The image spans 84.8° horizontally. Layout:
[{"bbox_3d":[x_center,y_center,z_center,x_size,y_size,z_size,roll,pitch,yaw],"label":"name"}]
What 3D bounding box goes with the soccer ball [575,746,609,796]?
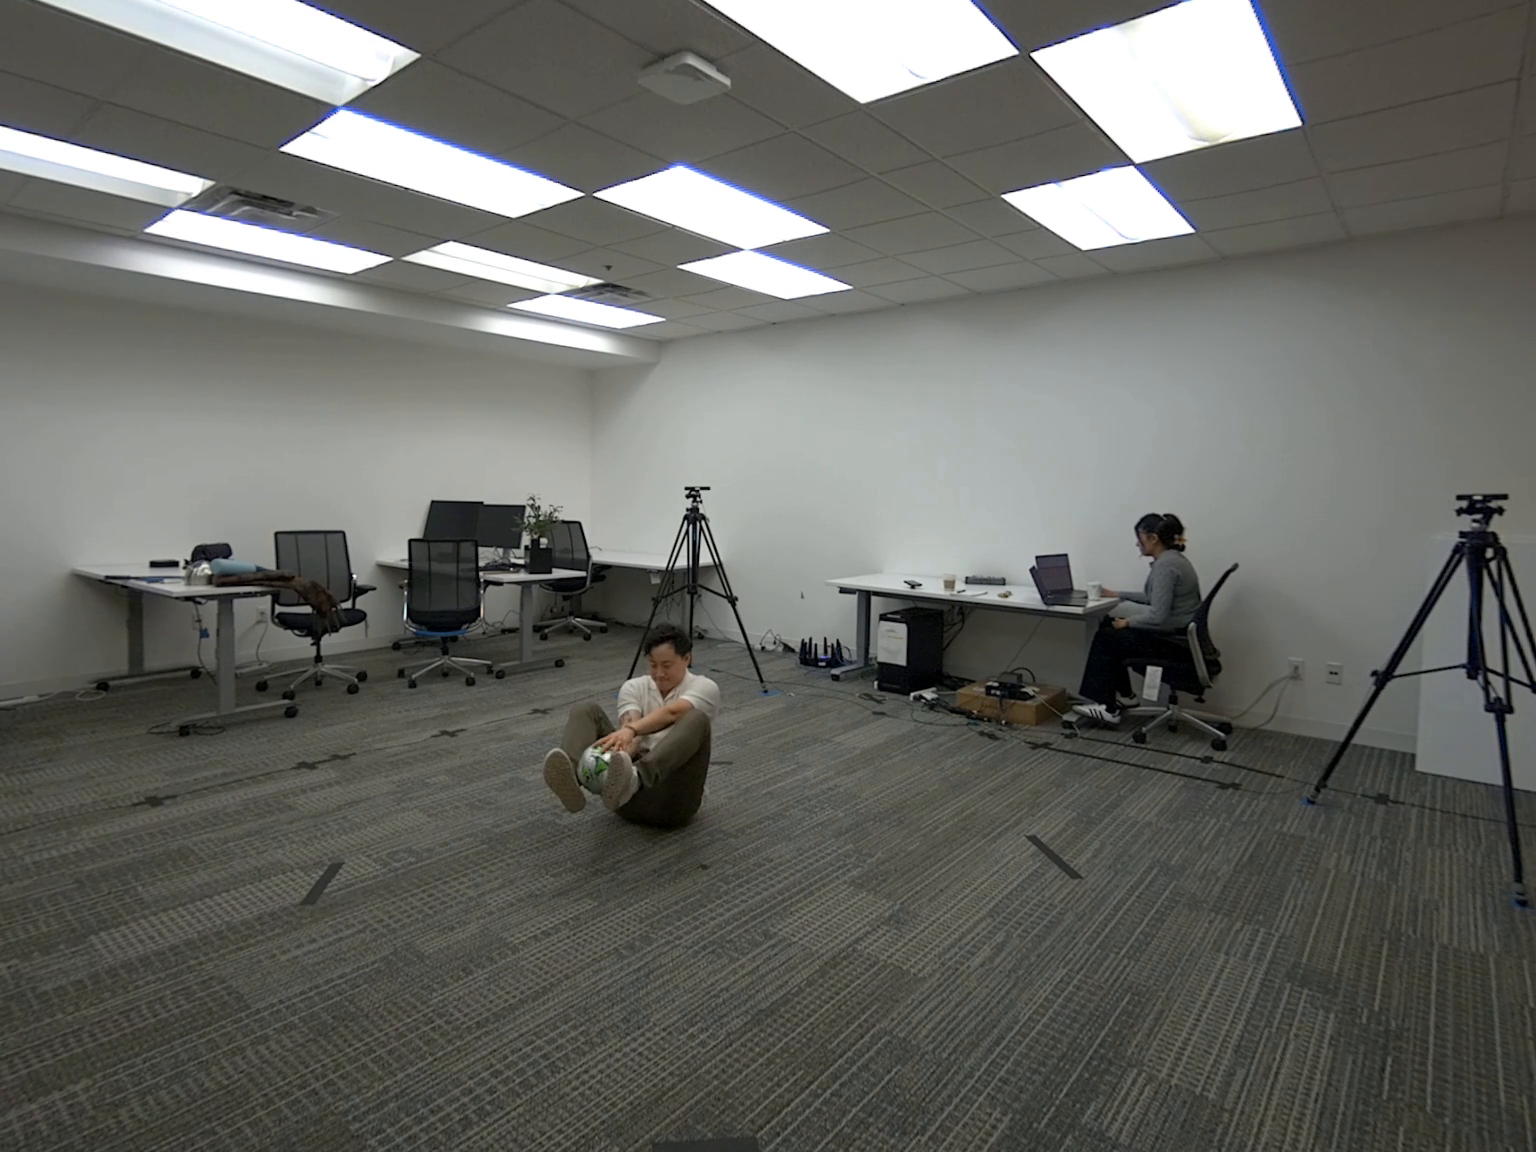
[{"bbox_3d":[-0.639,0.708,3.143,0.187,0.187,0.188,1,4,-2],"label":"soccer ball"}]
